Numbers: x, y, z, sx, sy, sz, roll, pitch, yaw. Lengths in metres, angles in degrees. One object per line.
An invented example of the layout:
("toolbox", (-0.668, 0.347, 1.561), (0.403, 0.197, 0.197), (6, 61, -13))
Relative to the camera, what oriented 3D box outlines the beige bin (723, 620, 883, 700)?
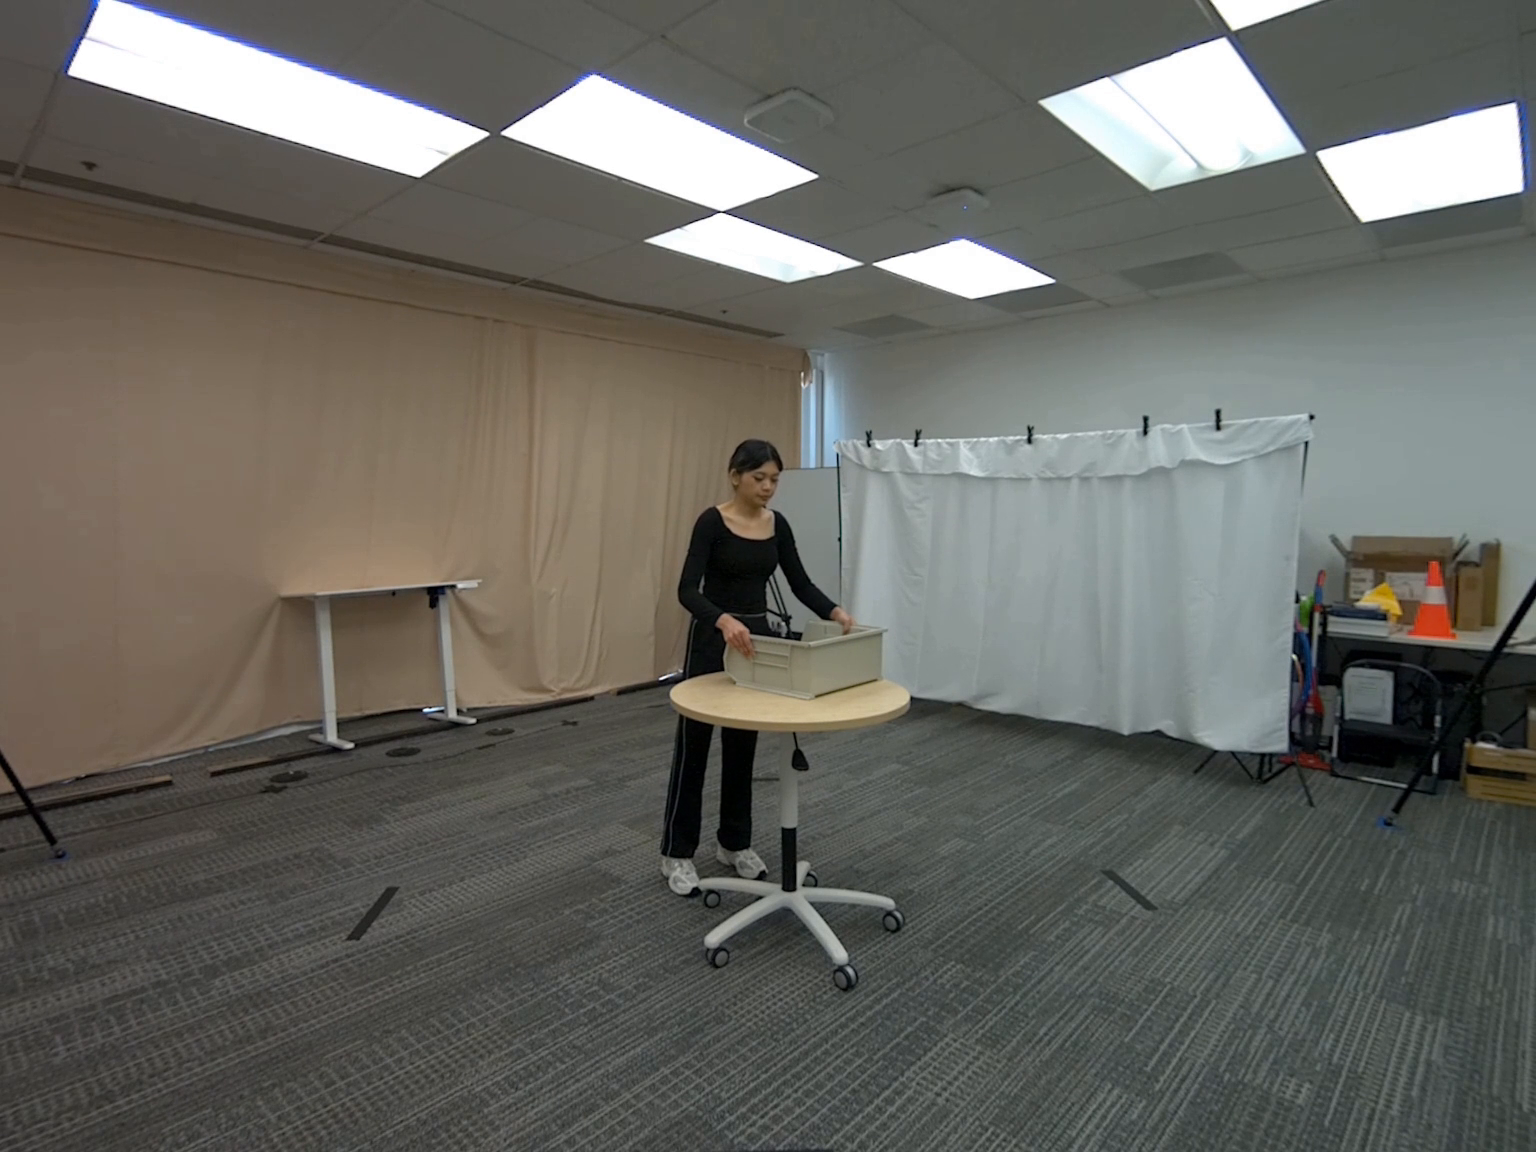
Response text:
("beige bin", (0.130, 0.270, 2.855), (0.390, 0.188, 0.409), (7, 8, 44))
